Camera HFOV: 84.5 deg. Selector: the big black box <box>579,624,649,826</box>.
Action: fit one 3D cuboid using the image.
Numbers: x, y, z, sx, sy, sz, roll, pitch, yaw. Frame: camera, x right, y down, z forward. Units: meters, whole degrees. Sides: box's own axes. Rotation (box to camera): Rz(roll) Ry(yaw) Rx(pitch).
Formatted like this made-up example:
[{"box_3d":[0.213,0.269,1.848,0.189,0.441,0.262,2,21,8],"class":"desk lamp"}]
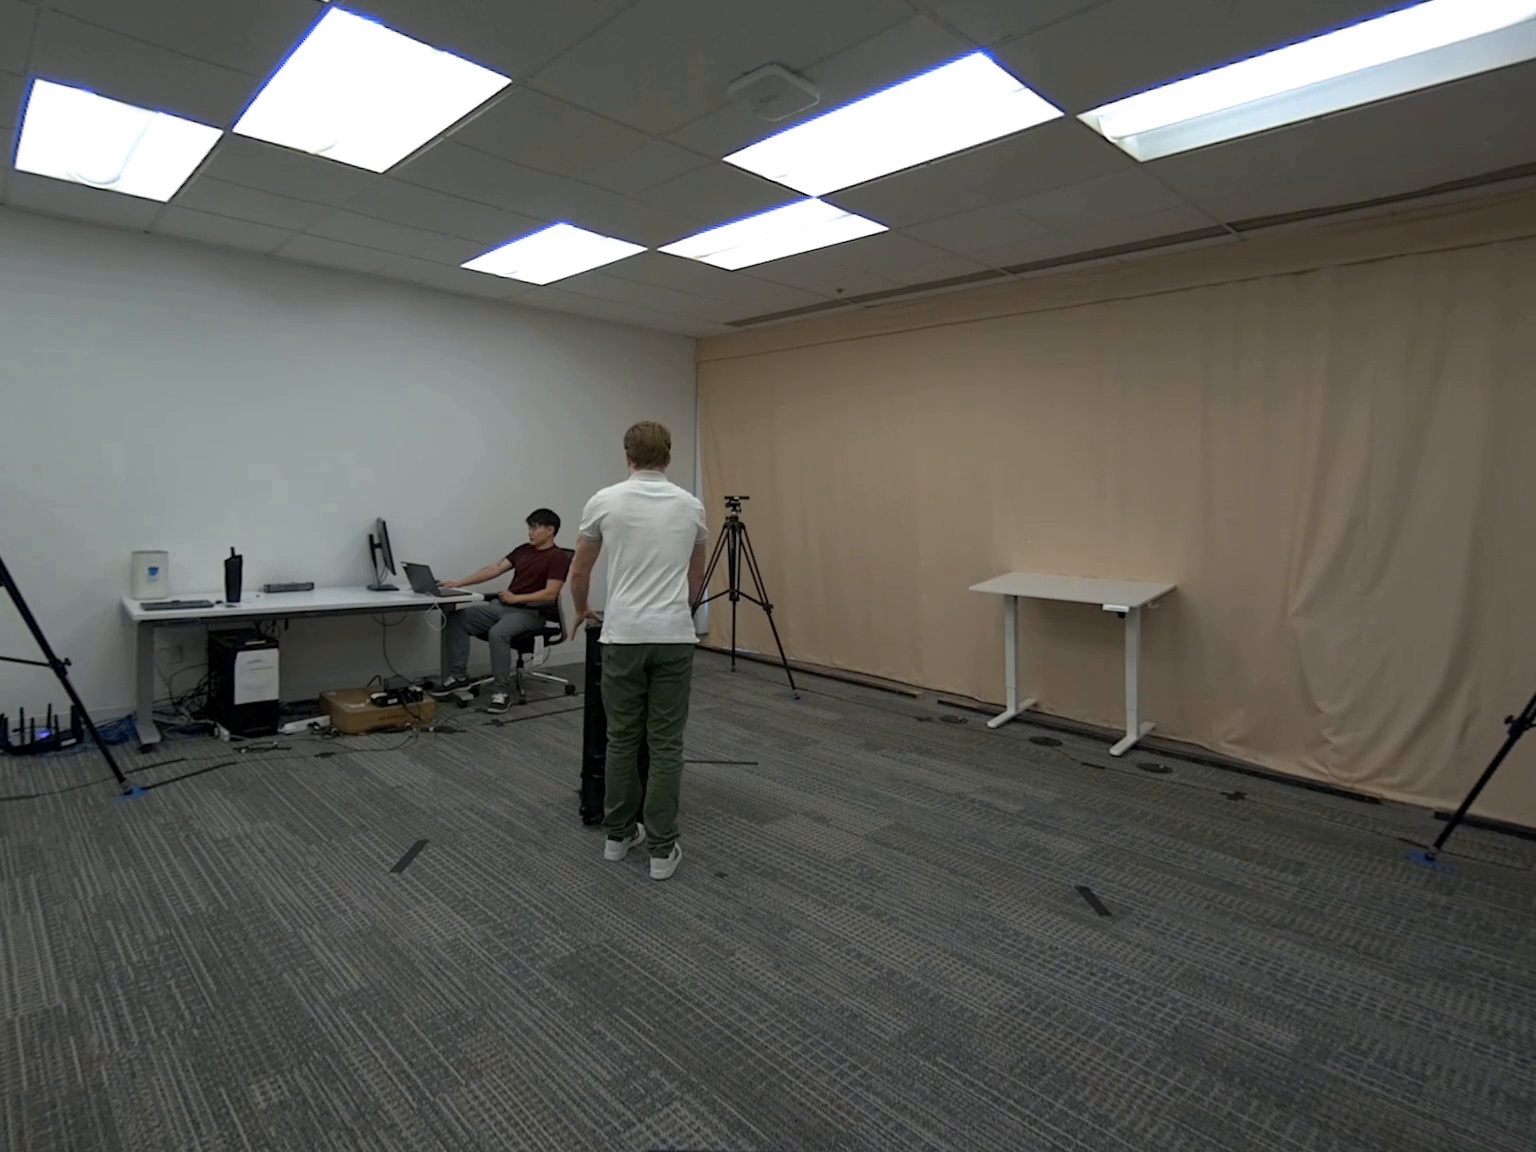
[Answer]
[{"box_3d":[-0.643,0.620,3.728,0.381,0.866,0.530,2,3,-13],"class":"big black box"}]
